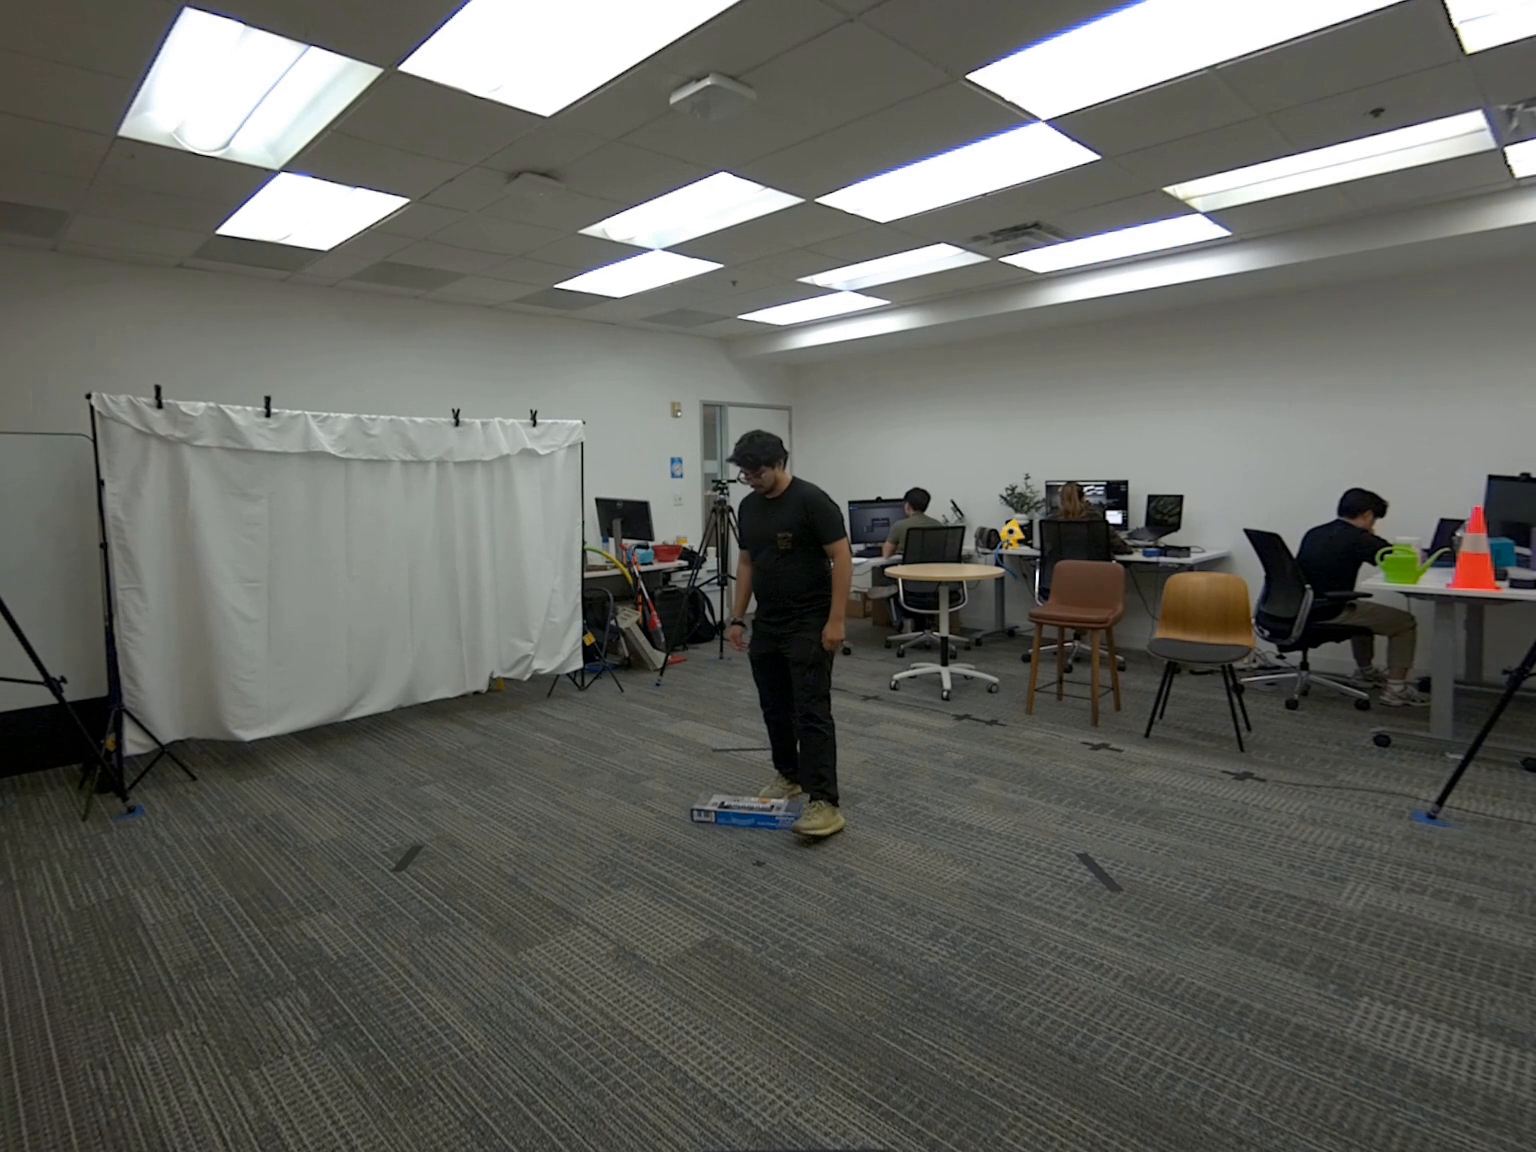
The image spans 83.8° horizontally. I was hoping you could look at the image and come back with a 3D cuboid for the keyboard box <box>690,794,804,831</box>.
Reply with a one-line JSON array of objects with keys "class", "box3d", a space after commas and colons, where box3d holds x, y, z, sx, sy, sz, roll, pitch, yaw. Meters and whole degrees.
[{"class": "keyboard box", "box3d": [-0.085, 0.972, 3.529, 0.443, 0.059, 0.174, 1, 5, 14]}]
